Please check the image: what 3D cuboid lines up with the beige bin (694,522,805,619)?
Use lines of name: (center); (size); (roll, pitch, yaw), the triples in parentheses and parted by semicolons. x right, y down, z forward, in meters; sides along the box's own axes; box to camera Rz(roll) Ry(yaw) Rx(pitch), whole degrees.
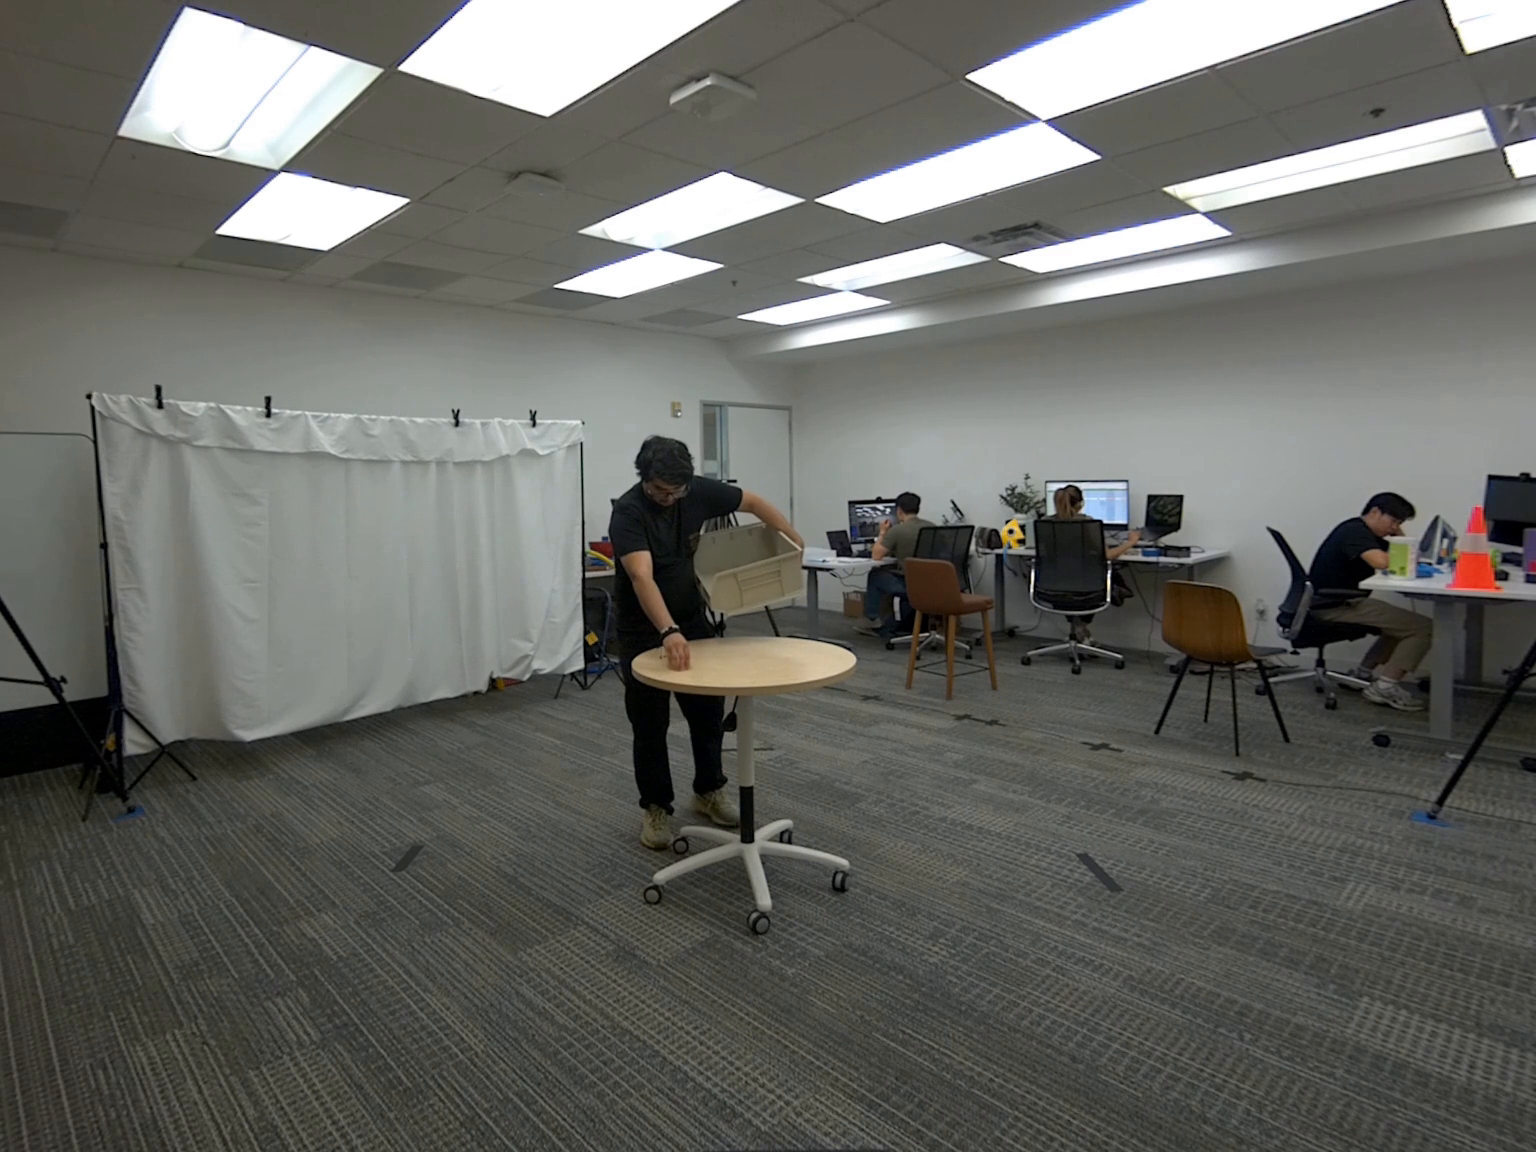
beige bin: (-0.098, -0.035, 3.325); (0.374, 0.185, 0.435); (-14, 21, -13)
